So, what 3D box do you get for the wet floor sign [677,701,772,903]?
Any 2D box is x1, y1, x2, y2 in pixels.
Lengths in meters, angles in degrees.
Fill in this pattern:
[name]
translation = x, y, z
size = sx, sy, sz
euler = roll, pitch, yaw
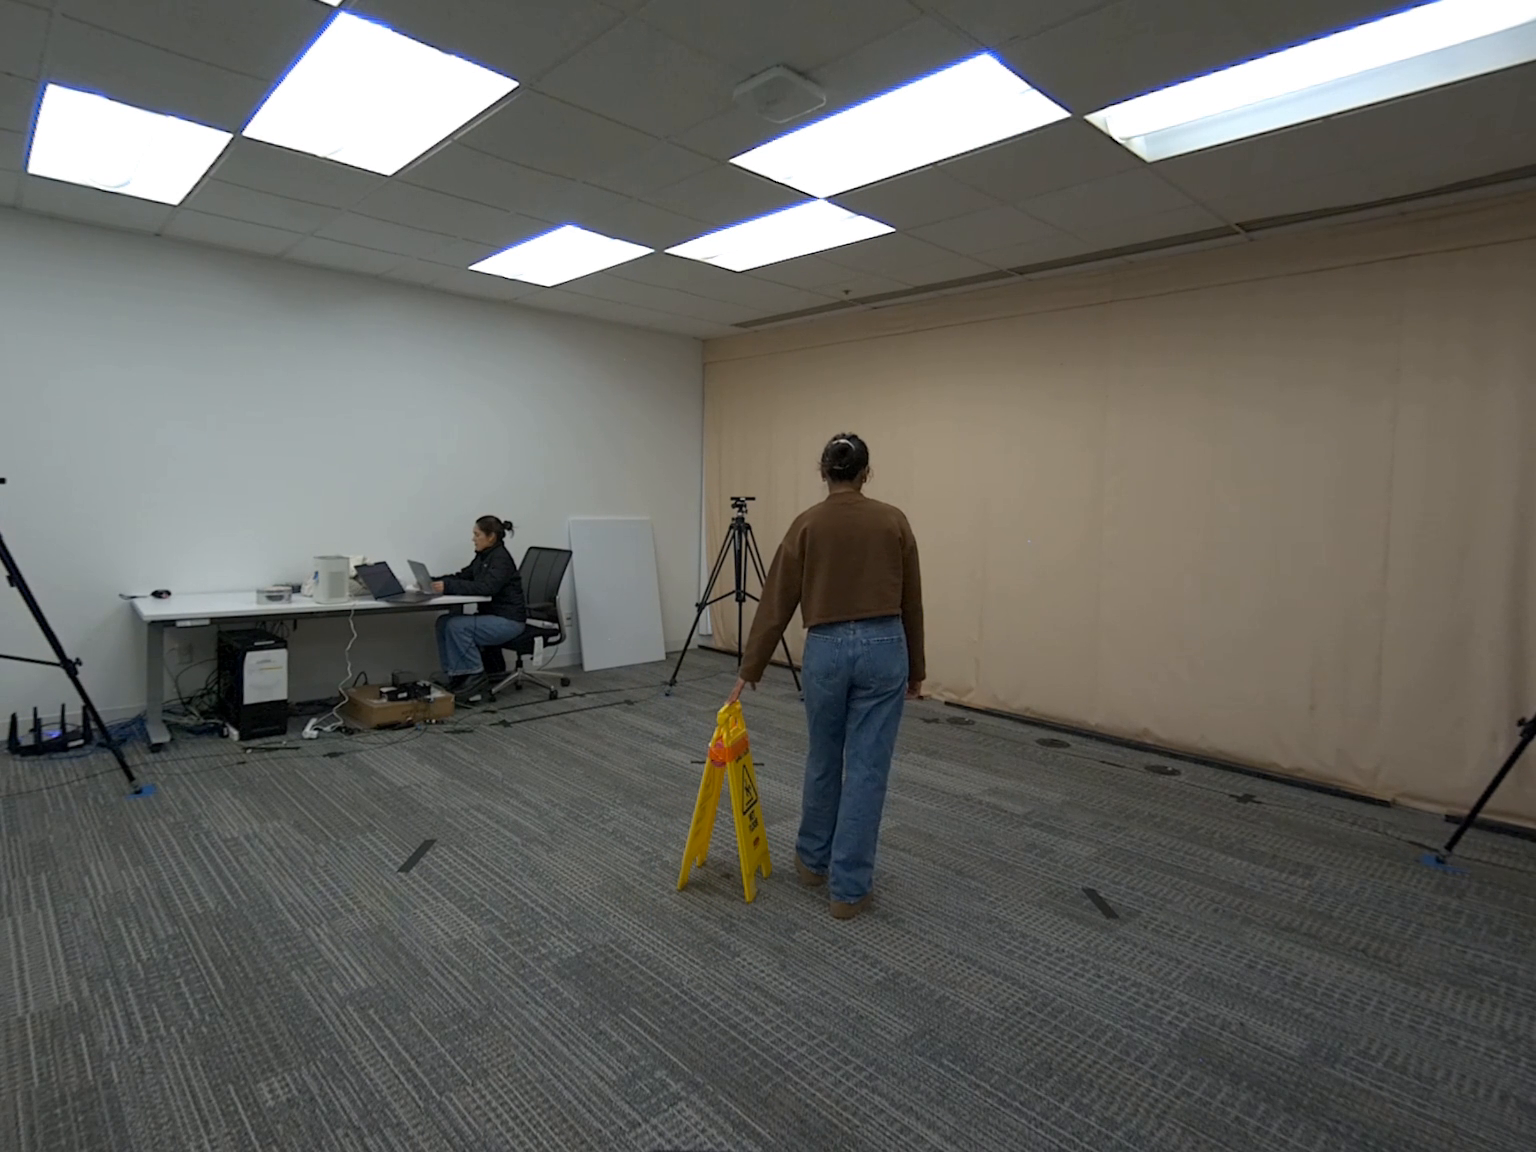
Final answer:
[wet floor sign]
translation = -0.147, 0.784, 3.041
size = 0.294, 0.644, 0.279
euler = 3, 5, 17
